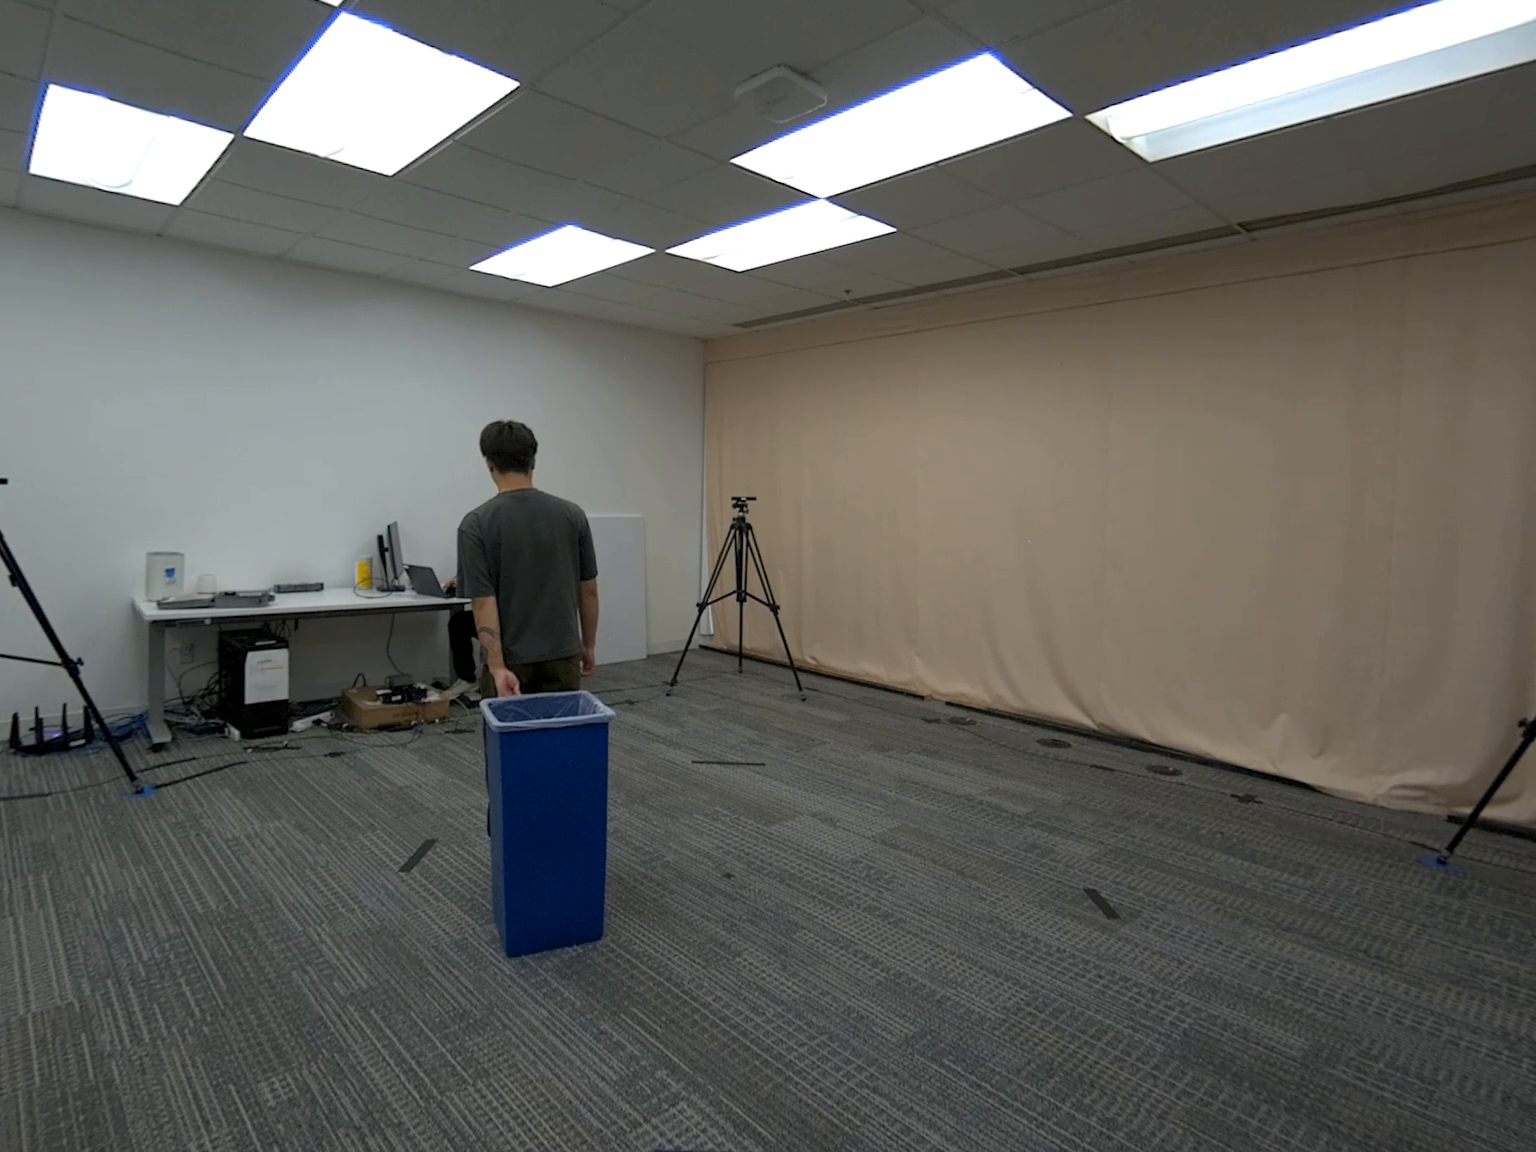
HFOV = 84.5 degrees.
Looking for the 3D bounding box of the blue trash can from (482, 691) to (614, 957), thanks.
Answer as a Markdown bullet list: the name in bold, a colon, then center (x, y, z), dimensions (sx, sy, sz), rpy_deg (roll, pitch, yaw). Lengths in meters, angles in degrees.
- **blue trash can**: center (-0.720, 0.772, 2.689), dimensions (0.367, 0.712, 0.385), rpy_deg (0, 2, -25)
